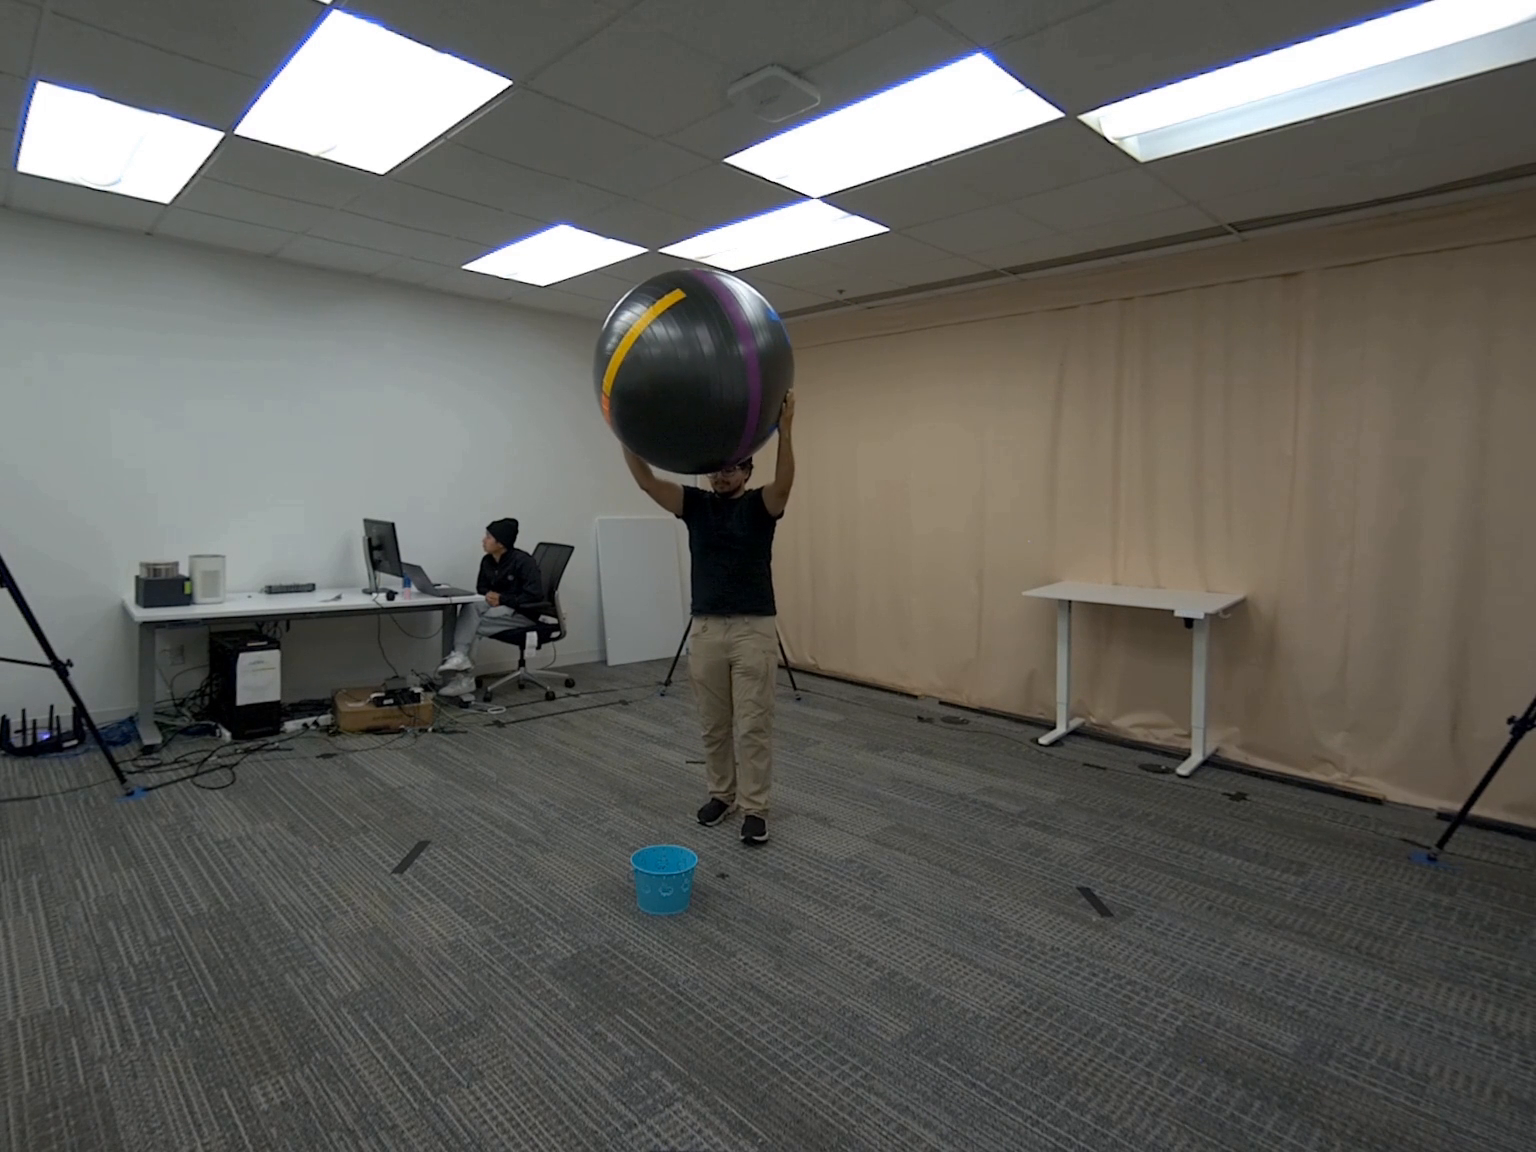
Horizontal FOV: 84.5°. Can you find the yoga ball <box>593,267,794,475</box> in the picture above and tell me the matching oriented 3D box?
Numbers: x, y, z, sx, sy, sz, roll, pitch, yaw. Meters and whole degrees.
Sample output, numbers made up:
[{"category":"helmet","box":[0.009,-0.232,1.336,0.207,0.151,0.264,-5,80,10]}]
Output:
[{"category":"yoga ball","box":[-0.283,-0.754,3.178,0.757,0.756,0.761,1,4,-1]}]
